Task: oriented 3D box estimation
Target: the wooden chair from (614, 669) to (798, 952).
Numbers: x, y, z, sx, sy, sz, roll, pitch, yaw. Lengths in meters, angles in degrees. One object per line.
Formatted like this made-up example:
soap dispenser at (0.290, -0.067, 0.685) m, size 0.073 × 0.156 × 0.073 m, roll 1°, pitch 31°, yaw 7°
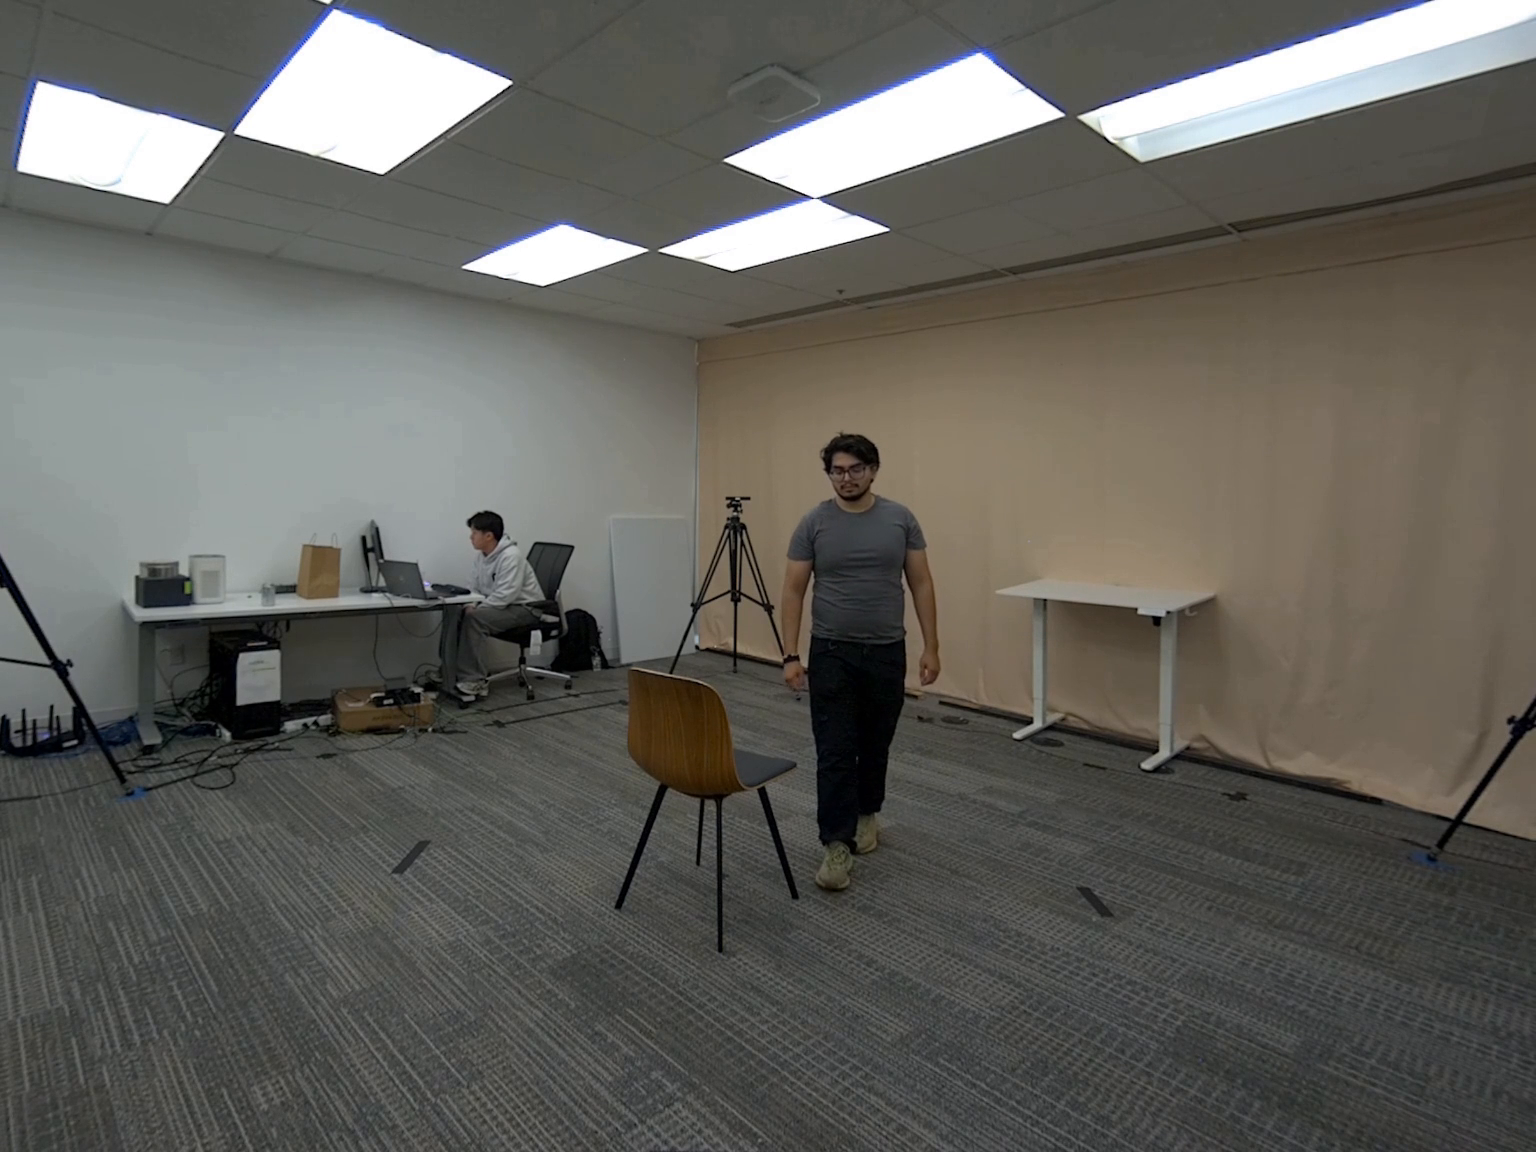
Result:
wooden chair at (-0.197, 0.699, 2.861) m, size 0.489 × 0.873 × 0.513 m, roll 3°, pitch 9°, yaw 35°
